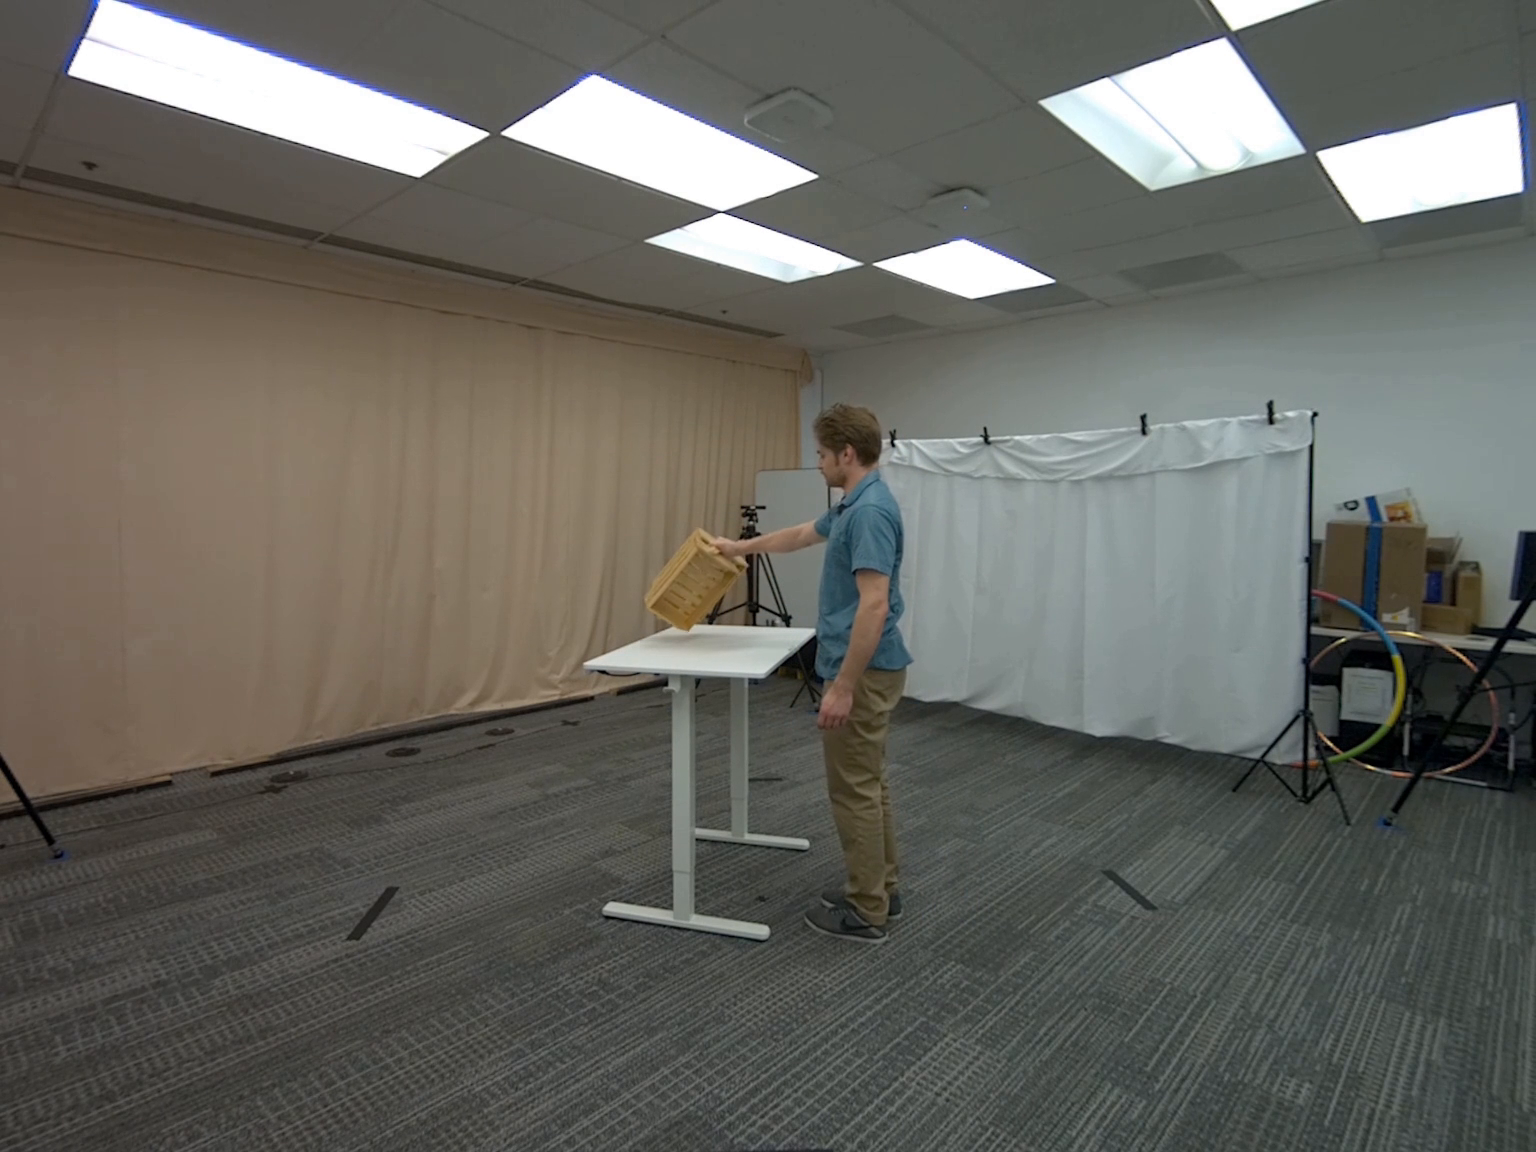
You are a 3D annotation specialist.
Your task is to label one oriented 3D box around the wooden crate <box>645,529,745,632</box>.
[{"bbox_3d":[-0.255,0.031,3.174,0.294,0.325,0.280,35,11,-23],"label":"wooden crate"}]
